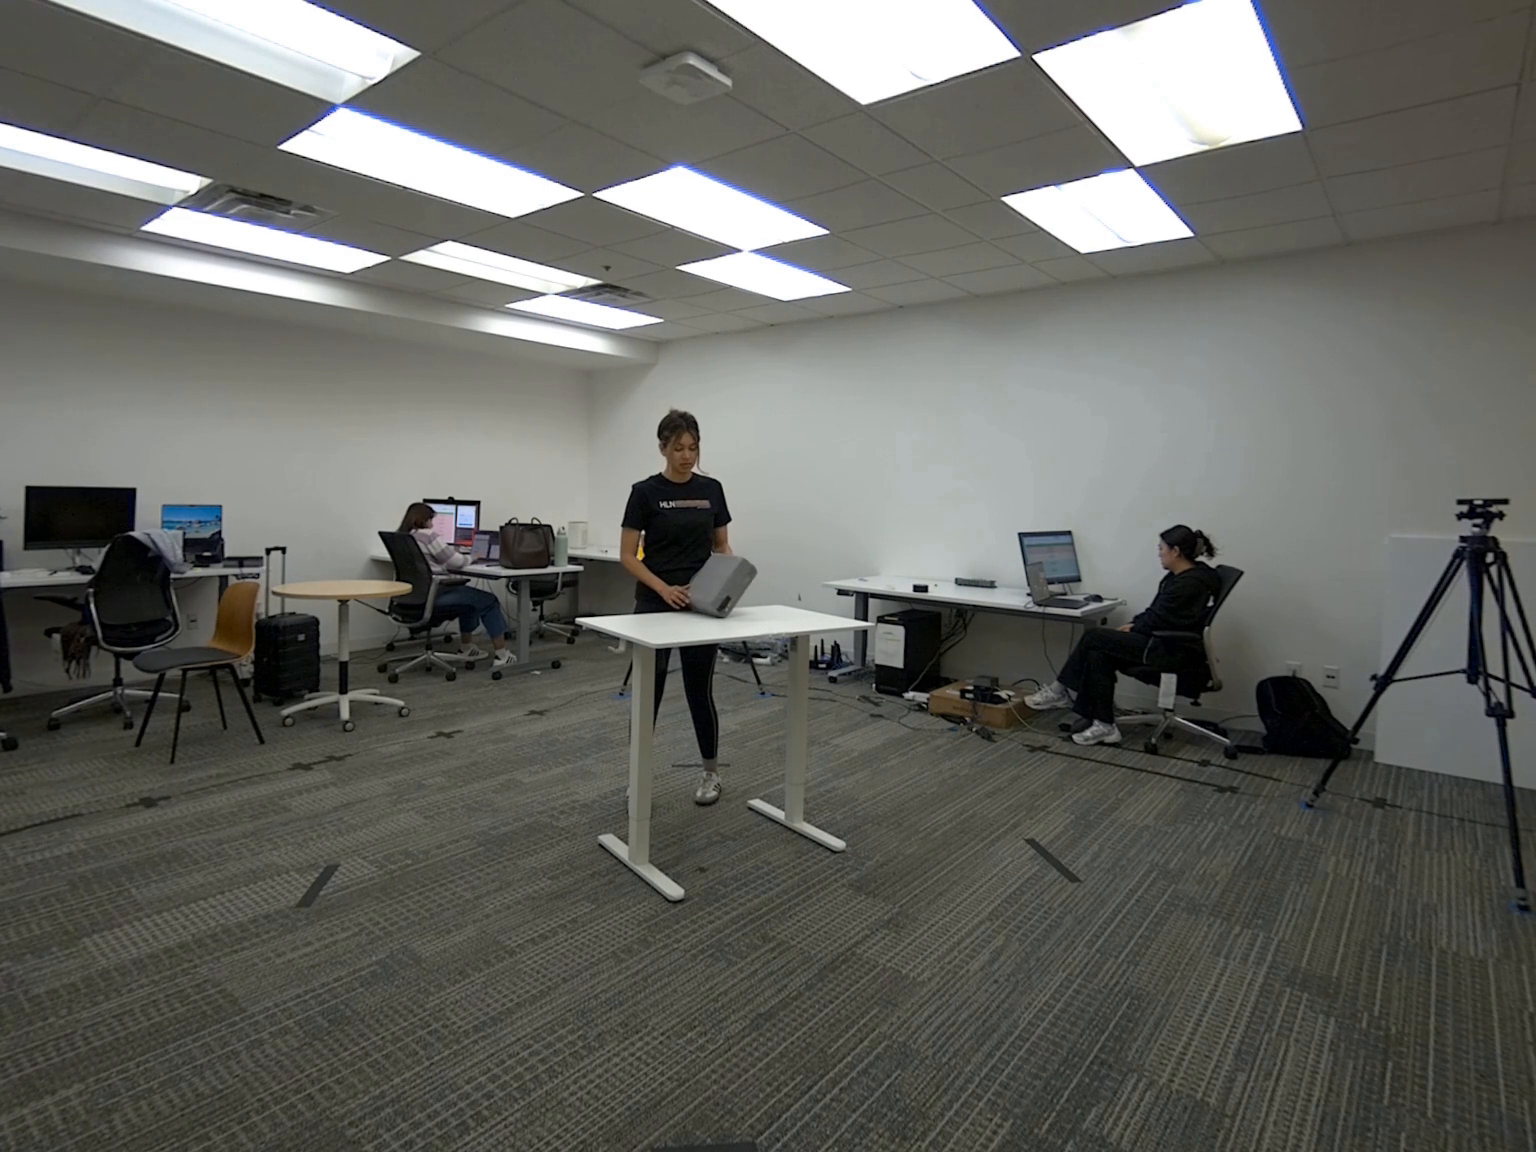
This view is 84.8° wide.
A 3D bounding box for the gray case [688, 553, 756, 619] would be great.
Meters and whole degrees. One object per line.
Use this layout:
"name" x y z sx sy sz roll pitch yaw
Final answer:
"gray case" -0.204 0.028 3.452 0.101 0.258 0.269 44 -19 -30
